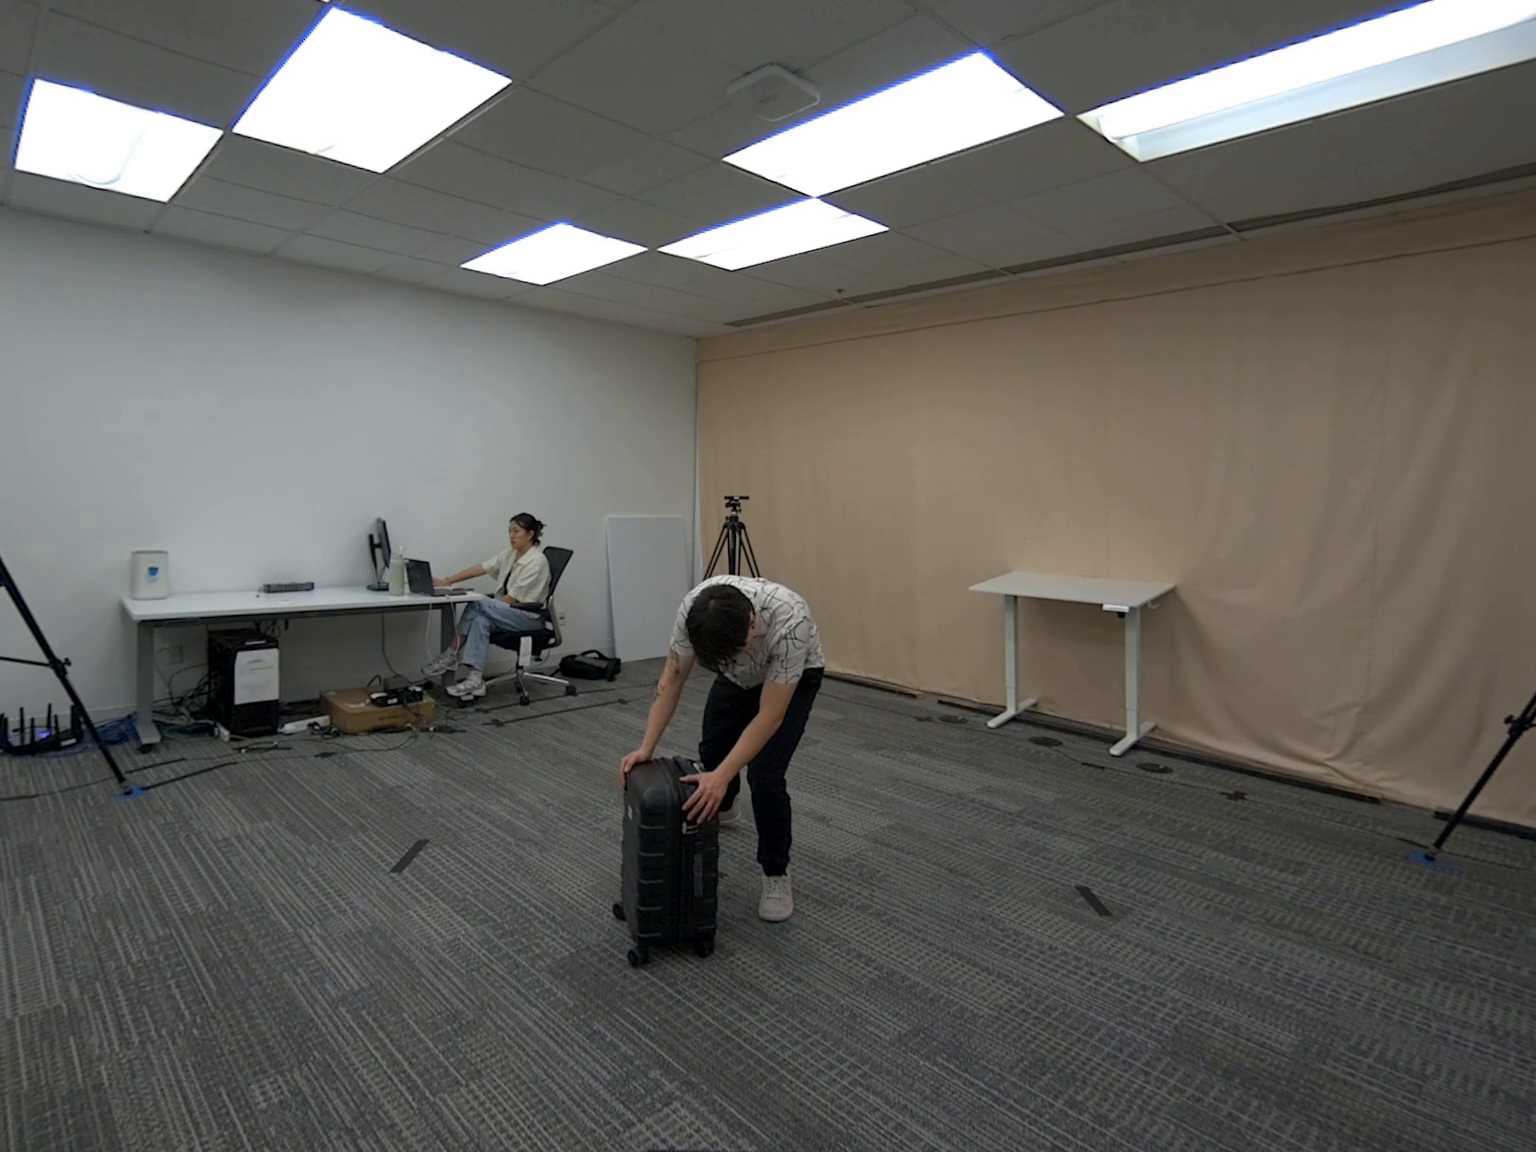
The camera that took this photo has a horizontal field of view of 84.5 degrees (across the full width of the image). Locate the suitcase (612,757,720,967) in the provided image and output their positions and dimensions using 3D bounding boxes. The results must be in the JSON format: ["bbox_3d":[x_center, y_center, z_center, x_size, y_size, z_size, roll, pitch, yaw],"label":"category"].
[{"bbox_3d":[-0.322,0.869,2.634,0.245,0.548,0.382,1,4,-19],"label":"suitcase"}]
